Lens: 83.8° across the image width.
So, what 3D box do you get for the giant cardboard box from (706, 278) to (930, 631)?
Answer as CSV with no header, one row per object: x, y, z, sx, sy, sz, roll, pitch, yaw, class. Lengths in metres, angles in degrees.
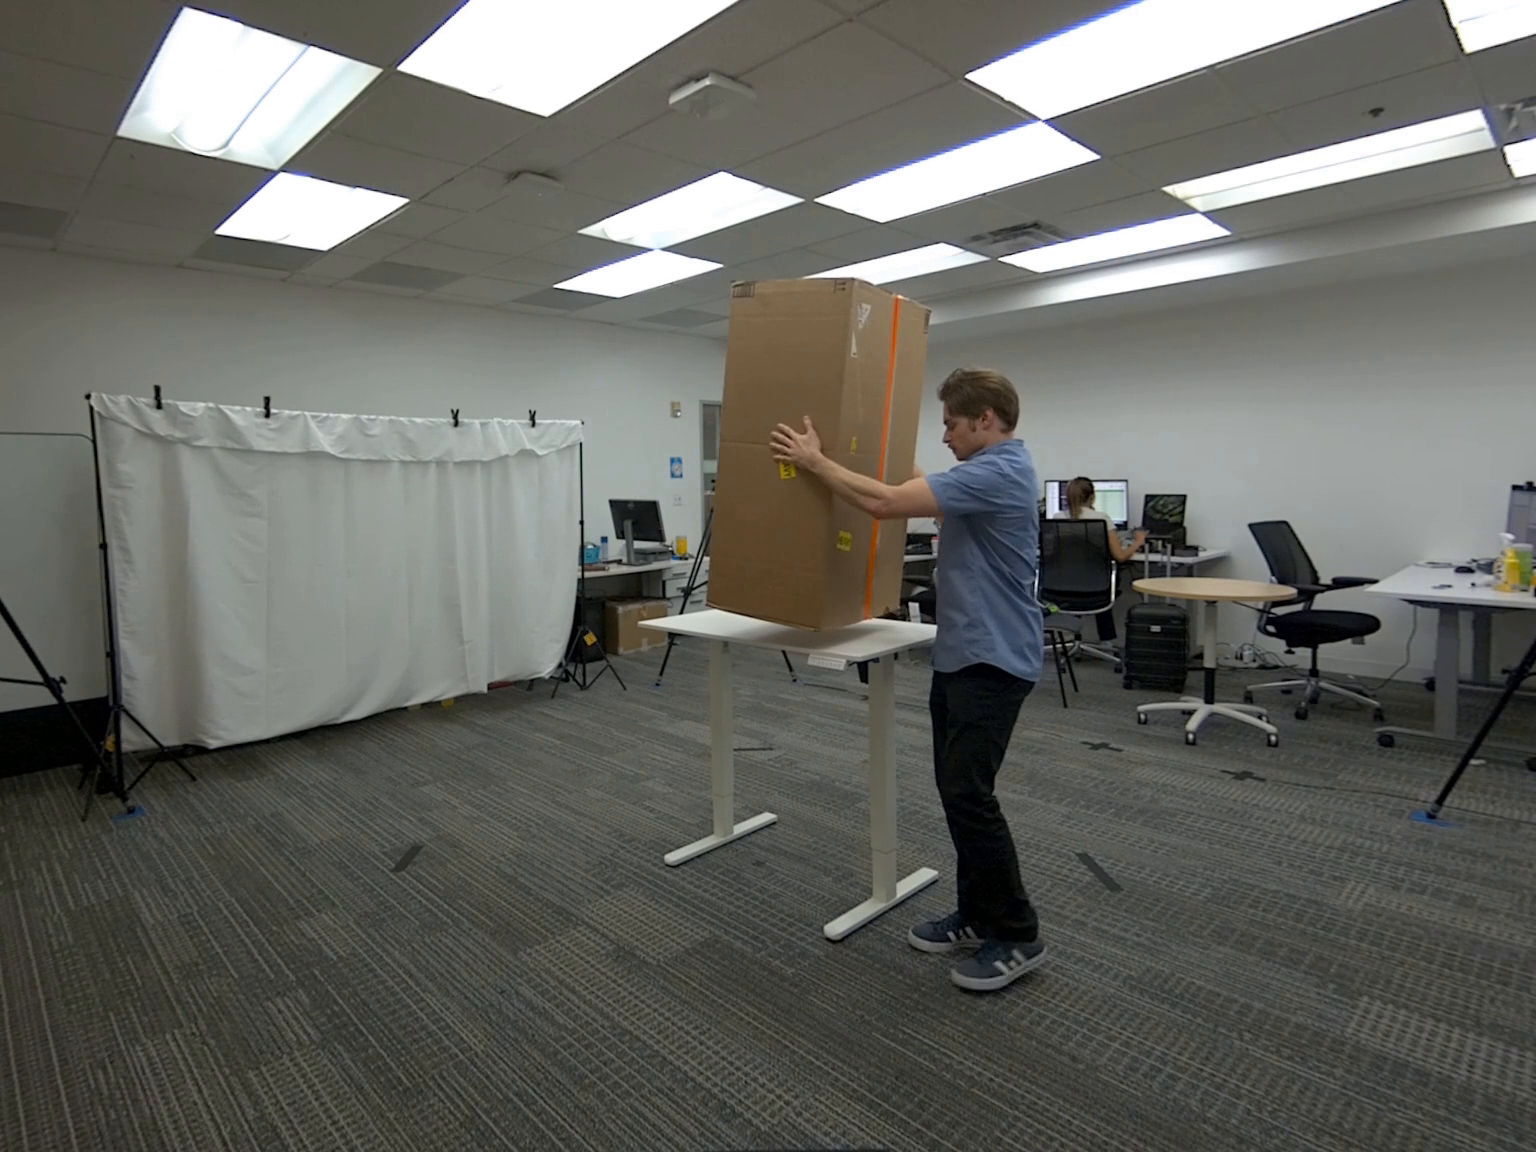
0.176,-0.391,2.788,0.439,1.020,0.563,10,9,34,giant cardboard box
